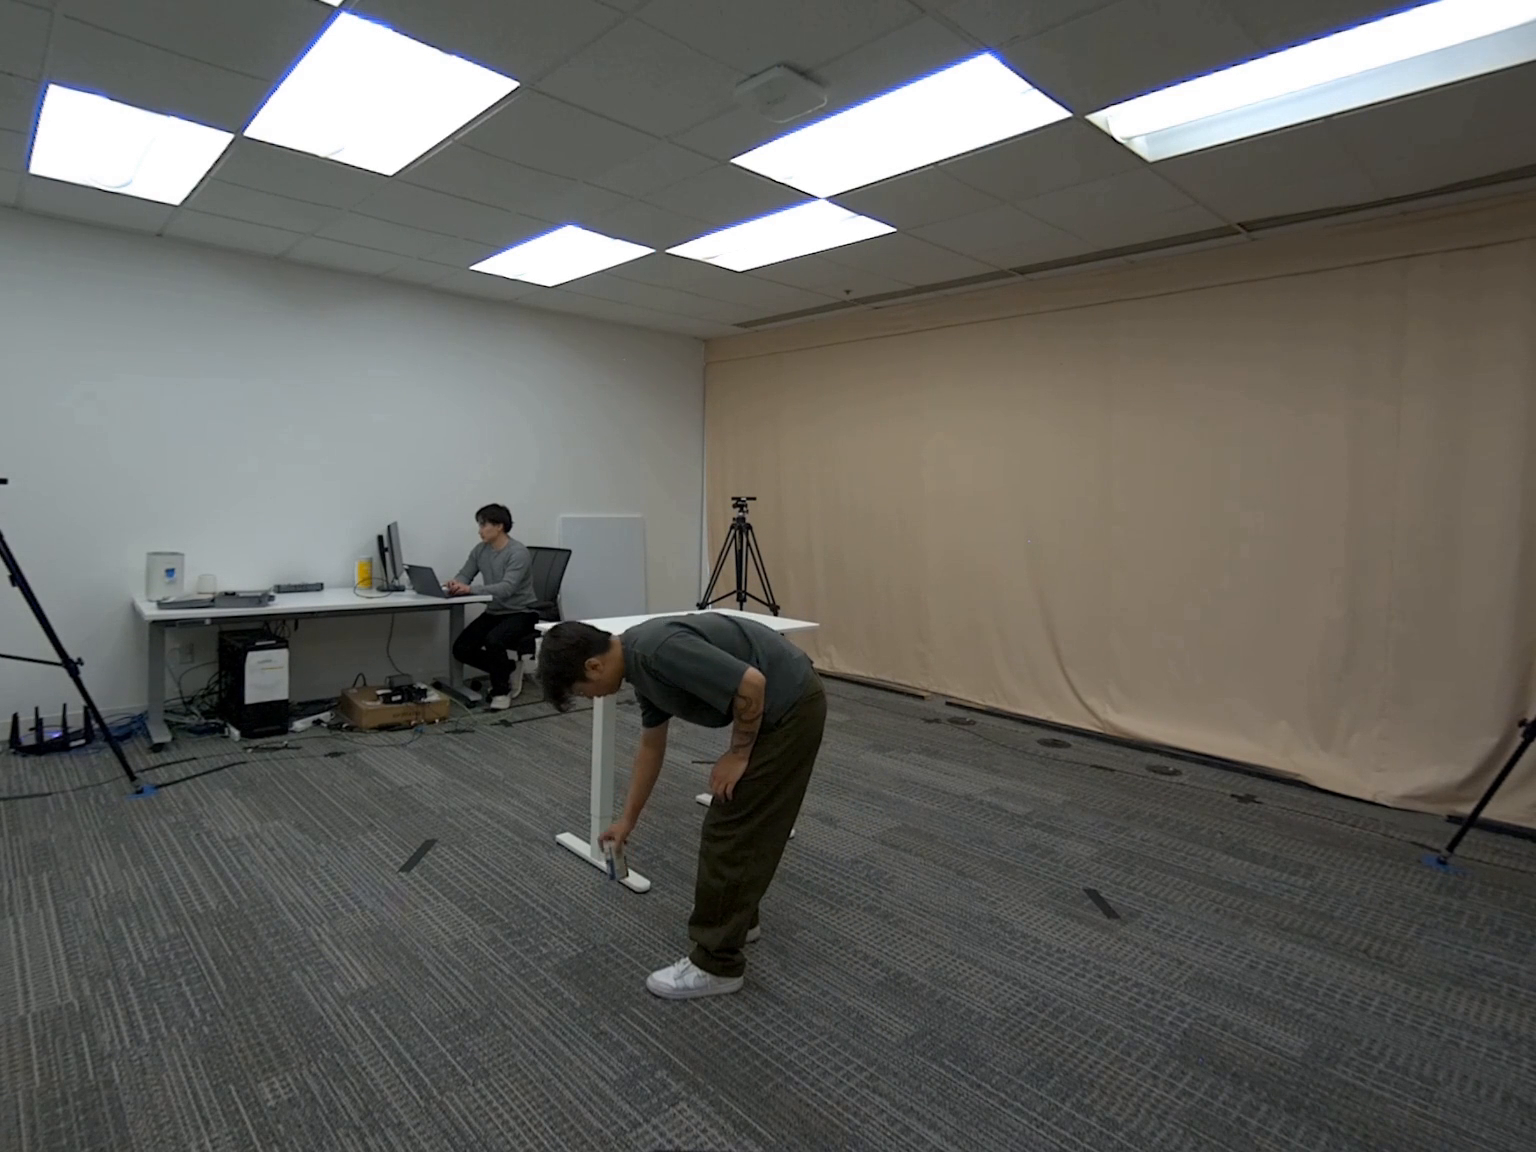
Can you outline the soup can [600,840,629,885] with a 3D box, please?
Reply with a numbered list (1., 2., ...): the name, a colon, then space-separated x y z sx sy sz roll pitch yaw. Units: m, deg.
1. soup can: -0.485 0.903 2.670 0.067 0.122 0.067 -6 -8 -2
